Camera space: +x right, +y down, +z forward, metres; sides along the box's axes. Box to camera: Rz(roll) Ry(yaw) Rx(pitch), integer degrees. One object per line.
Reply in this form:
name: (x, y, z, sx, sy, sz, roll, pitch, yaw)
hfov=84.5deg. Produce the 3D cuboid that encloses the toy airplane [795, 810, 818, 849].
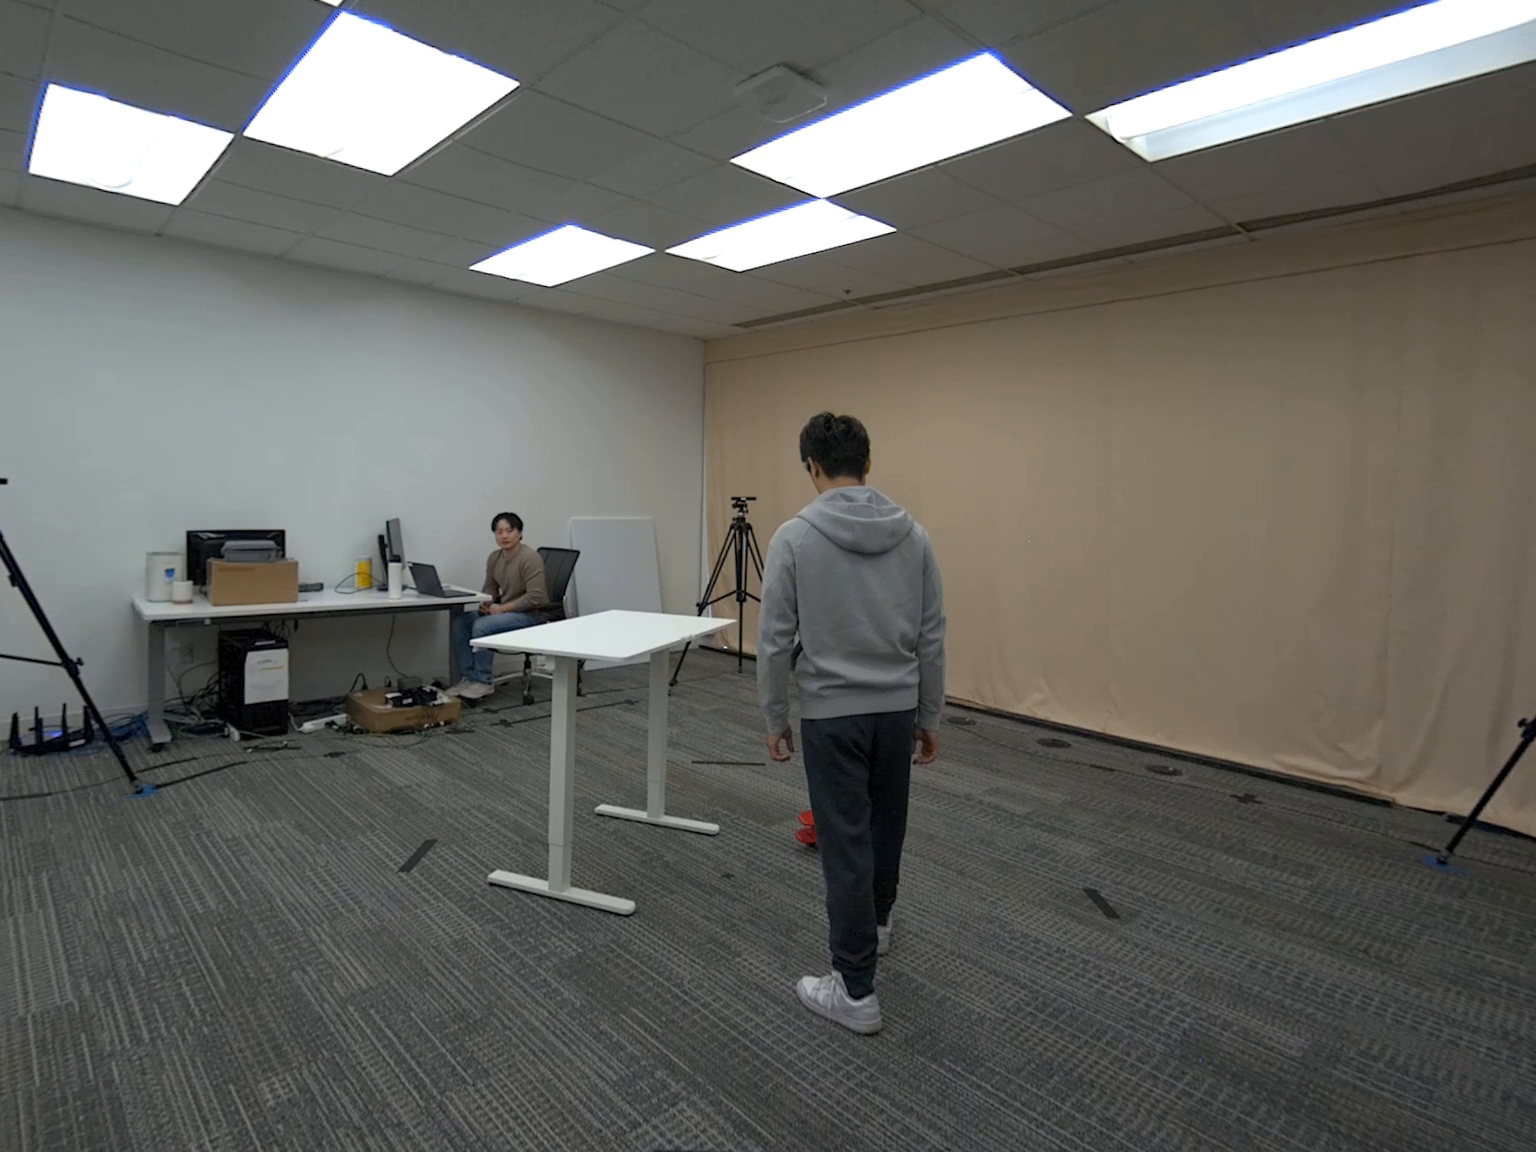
toy airplane: (0.259, 1.023, 3.346, 0.265, 0.156, 0.245, 2, 3, 37)
